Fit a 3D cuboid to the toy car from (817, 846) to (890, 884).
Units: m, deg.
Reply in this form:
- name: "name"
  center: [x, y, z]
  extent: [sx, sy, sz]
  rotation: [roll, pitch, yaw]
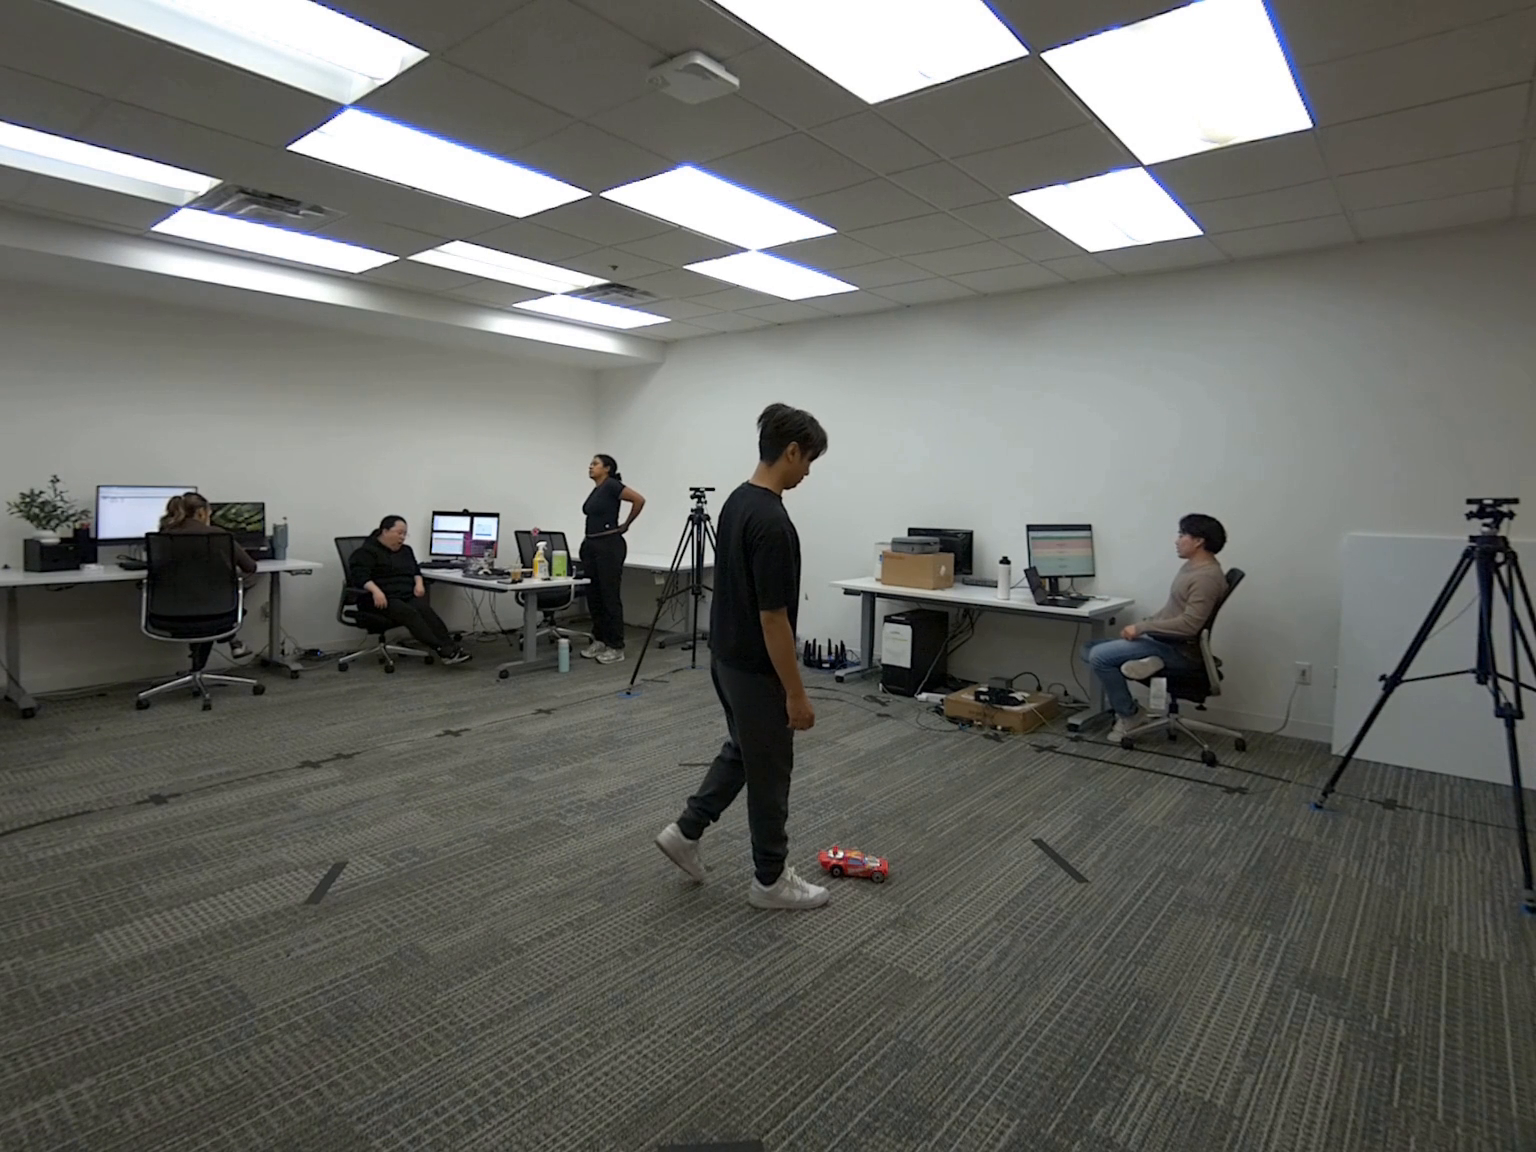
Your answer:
- name: "toy car"
  center: [0.303, 1.048, 3.103]
  extent: [0.258, 0.083, 0.129]
  rotation: [12, 5, 9]
